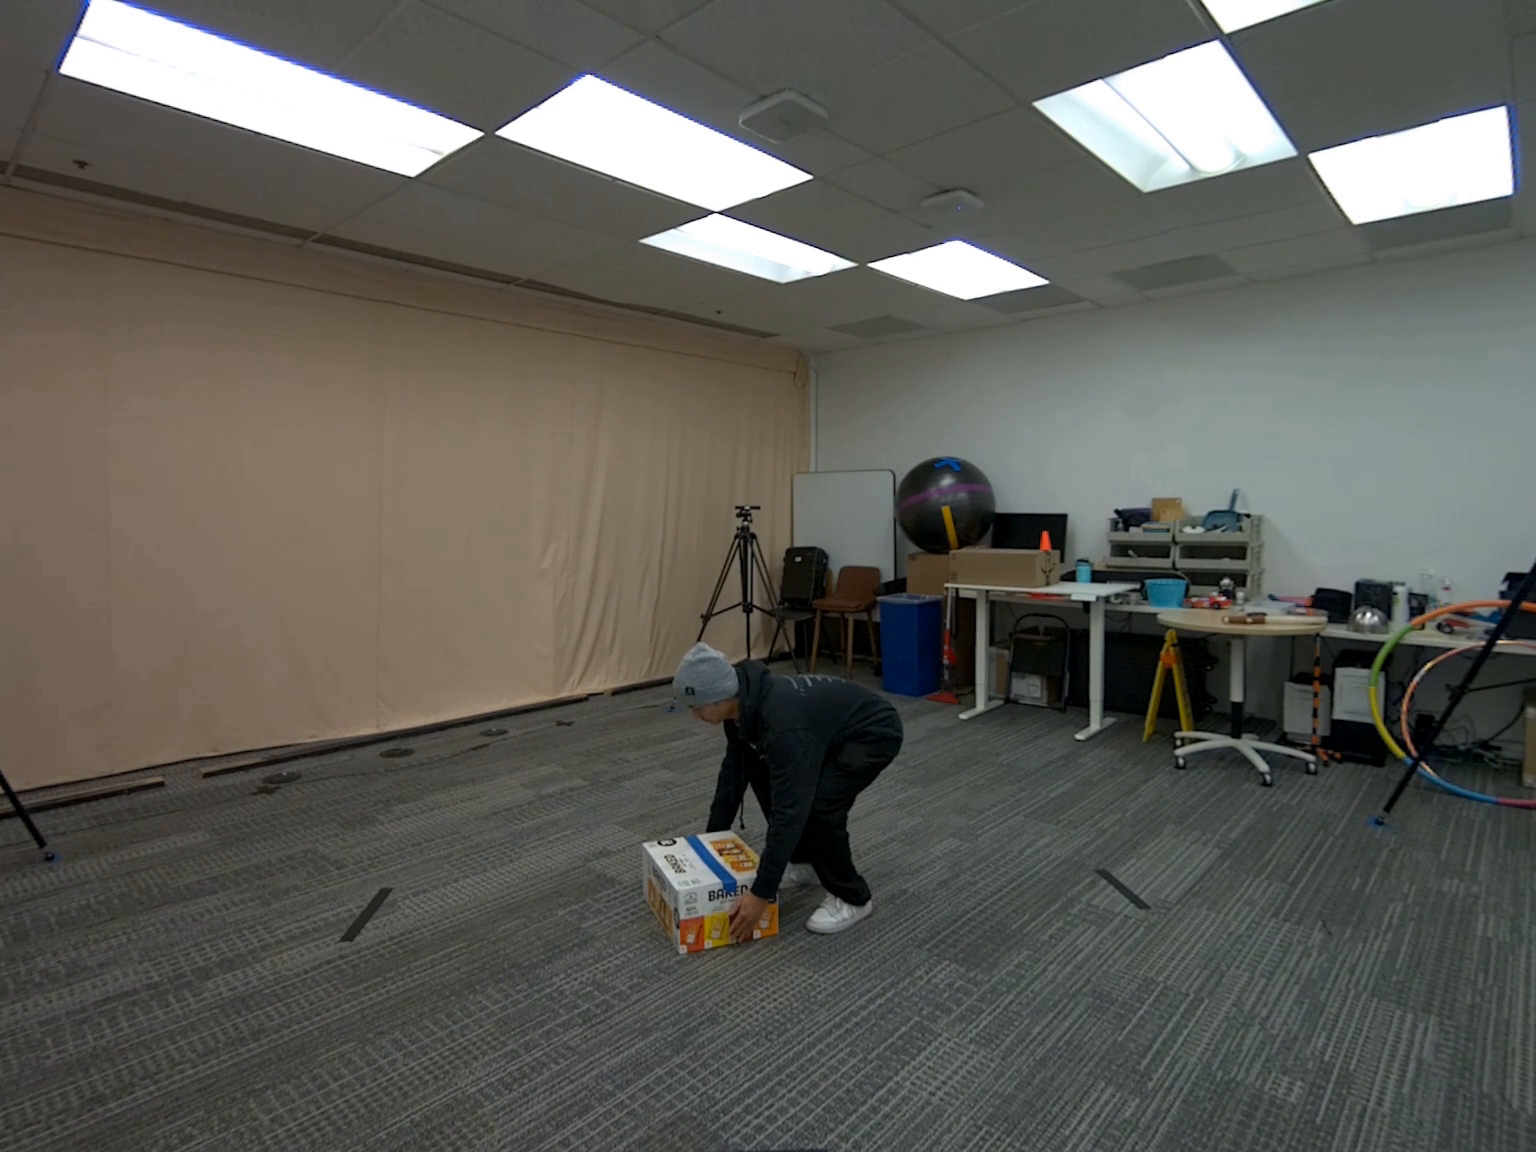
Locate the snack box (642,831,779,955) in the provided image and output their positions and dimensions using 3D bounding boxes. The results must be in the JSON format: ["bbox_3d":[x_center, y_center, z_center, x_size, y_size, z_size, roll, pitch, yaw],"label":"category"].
[{"bbox_3d":[-0.205,1.058,2.856,0.333,0.205,0.415,-3,5,-22],"label":"snack box"}]
